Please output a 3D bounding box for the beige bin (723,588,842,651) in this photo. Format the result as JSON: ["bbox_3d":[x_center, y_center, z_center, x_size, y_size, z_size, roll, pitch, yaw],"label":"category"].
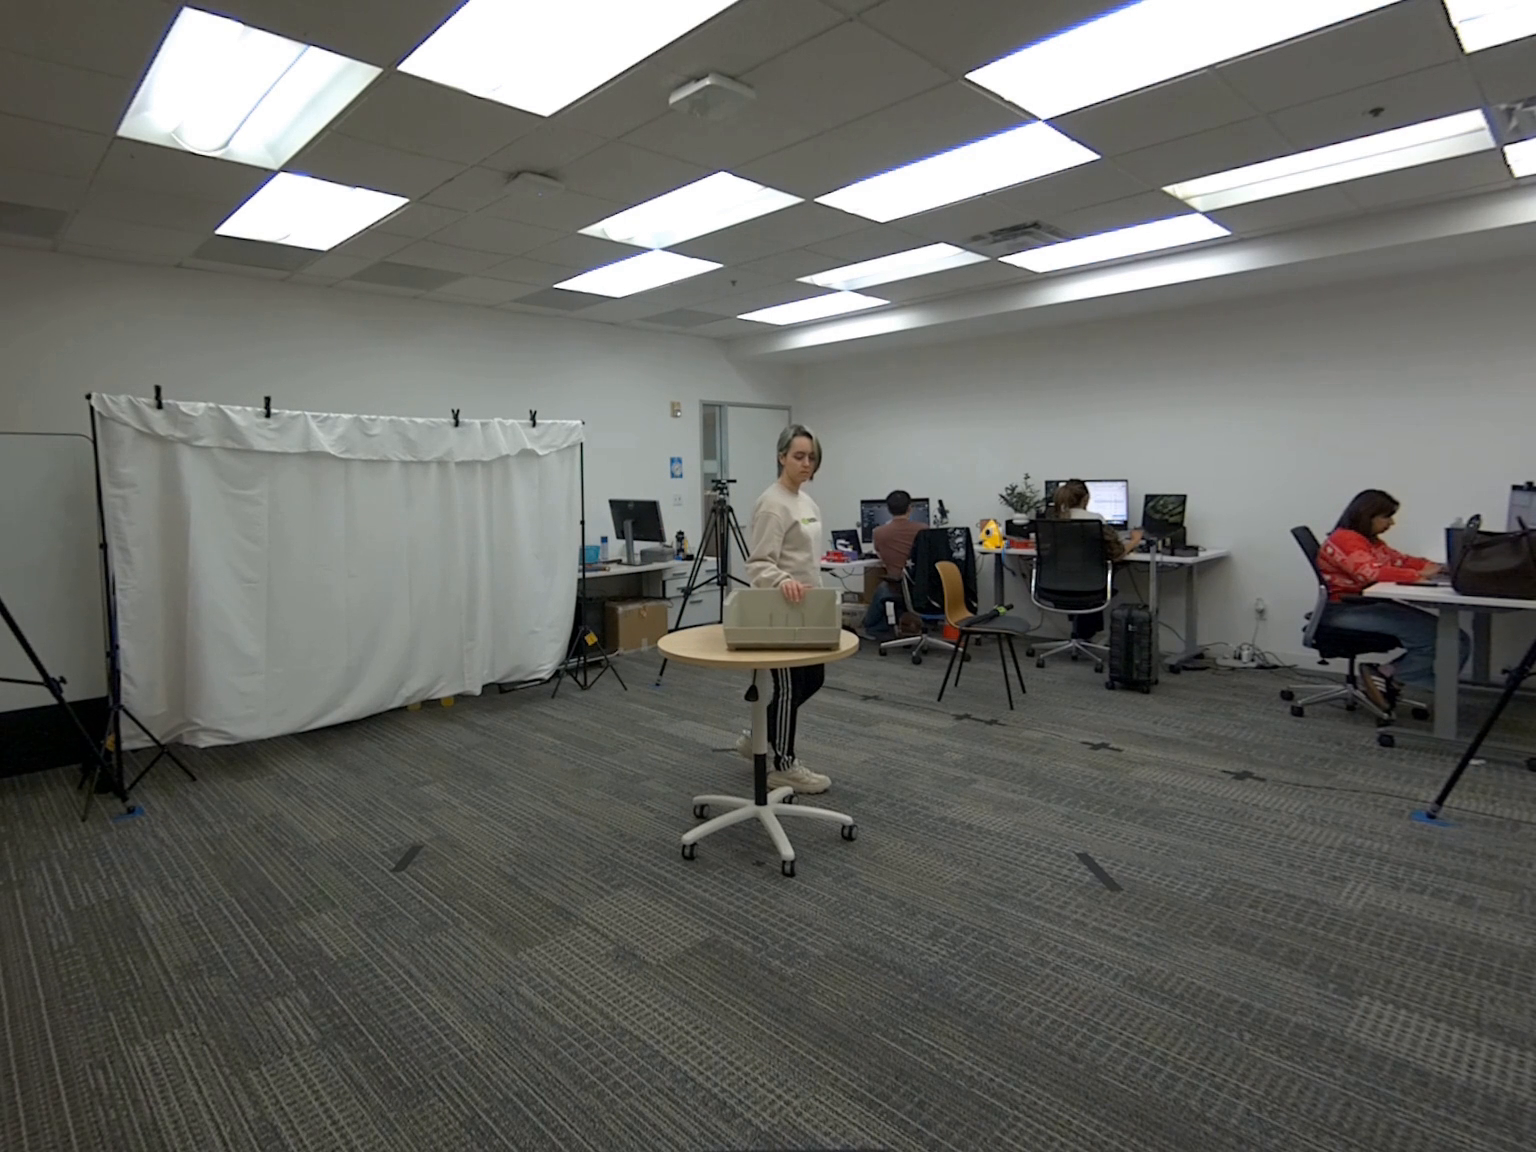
[{"bbox_3d":[0.061,0.160,3.195,0.425,0.188,0.376,-2,5,5],"label":"beige bin"}]
